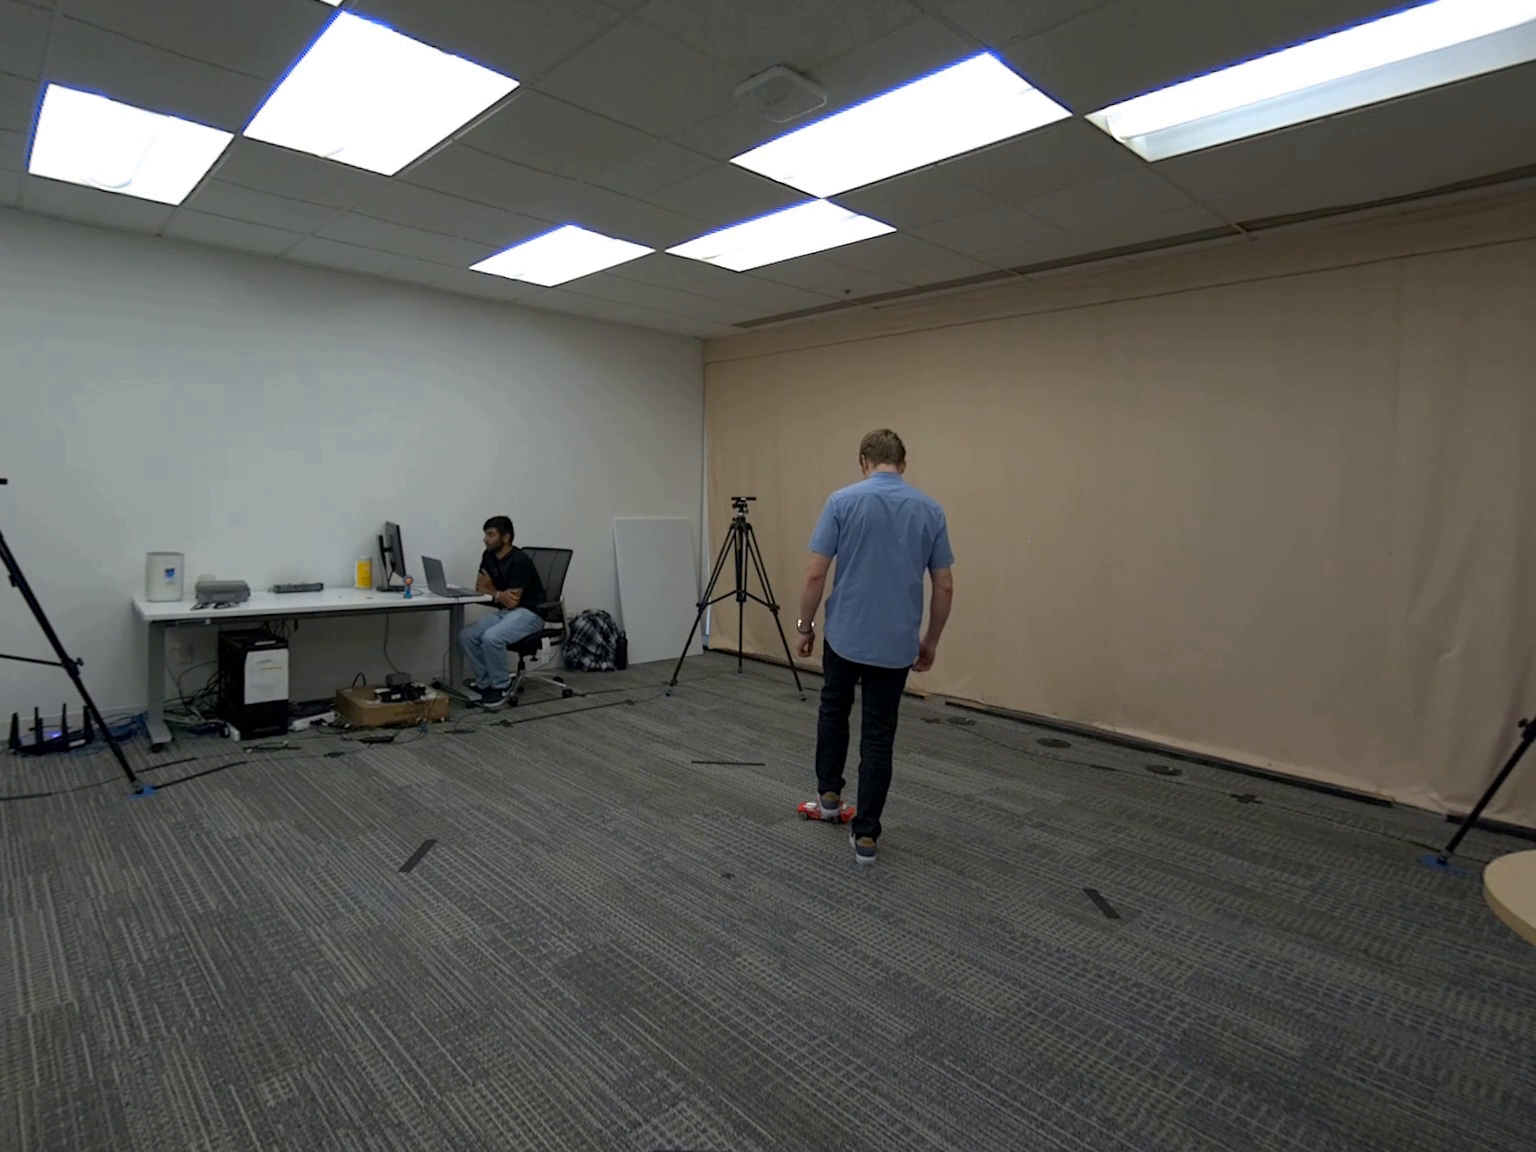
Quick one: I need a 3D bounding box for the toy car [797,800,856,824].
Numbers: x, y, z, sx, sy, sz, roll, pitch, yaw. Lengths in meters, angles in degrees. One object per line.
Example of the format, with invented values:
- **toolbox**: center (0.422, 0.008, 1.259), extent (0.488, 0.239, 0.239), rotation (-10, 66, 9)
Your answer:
- **toy car**: center (0.253, 1.037, 3.696), extent (0.257, 0.083, 0.129), rotation (-8, 1, 18)
